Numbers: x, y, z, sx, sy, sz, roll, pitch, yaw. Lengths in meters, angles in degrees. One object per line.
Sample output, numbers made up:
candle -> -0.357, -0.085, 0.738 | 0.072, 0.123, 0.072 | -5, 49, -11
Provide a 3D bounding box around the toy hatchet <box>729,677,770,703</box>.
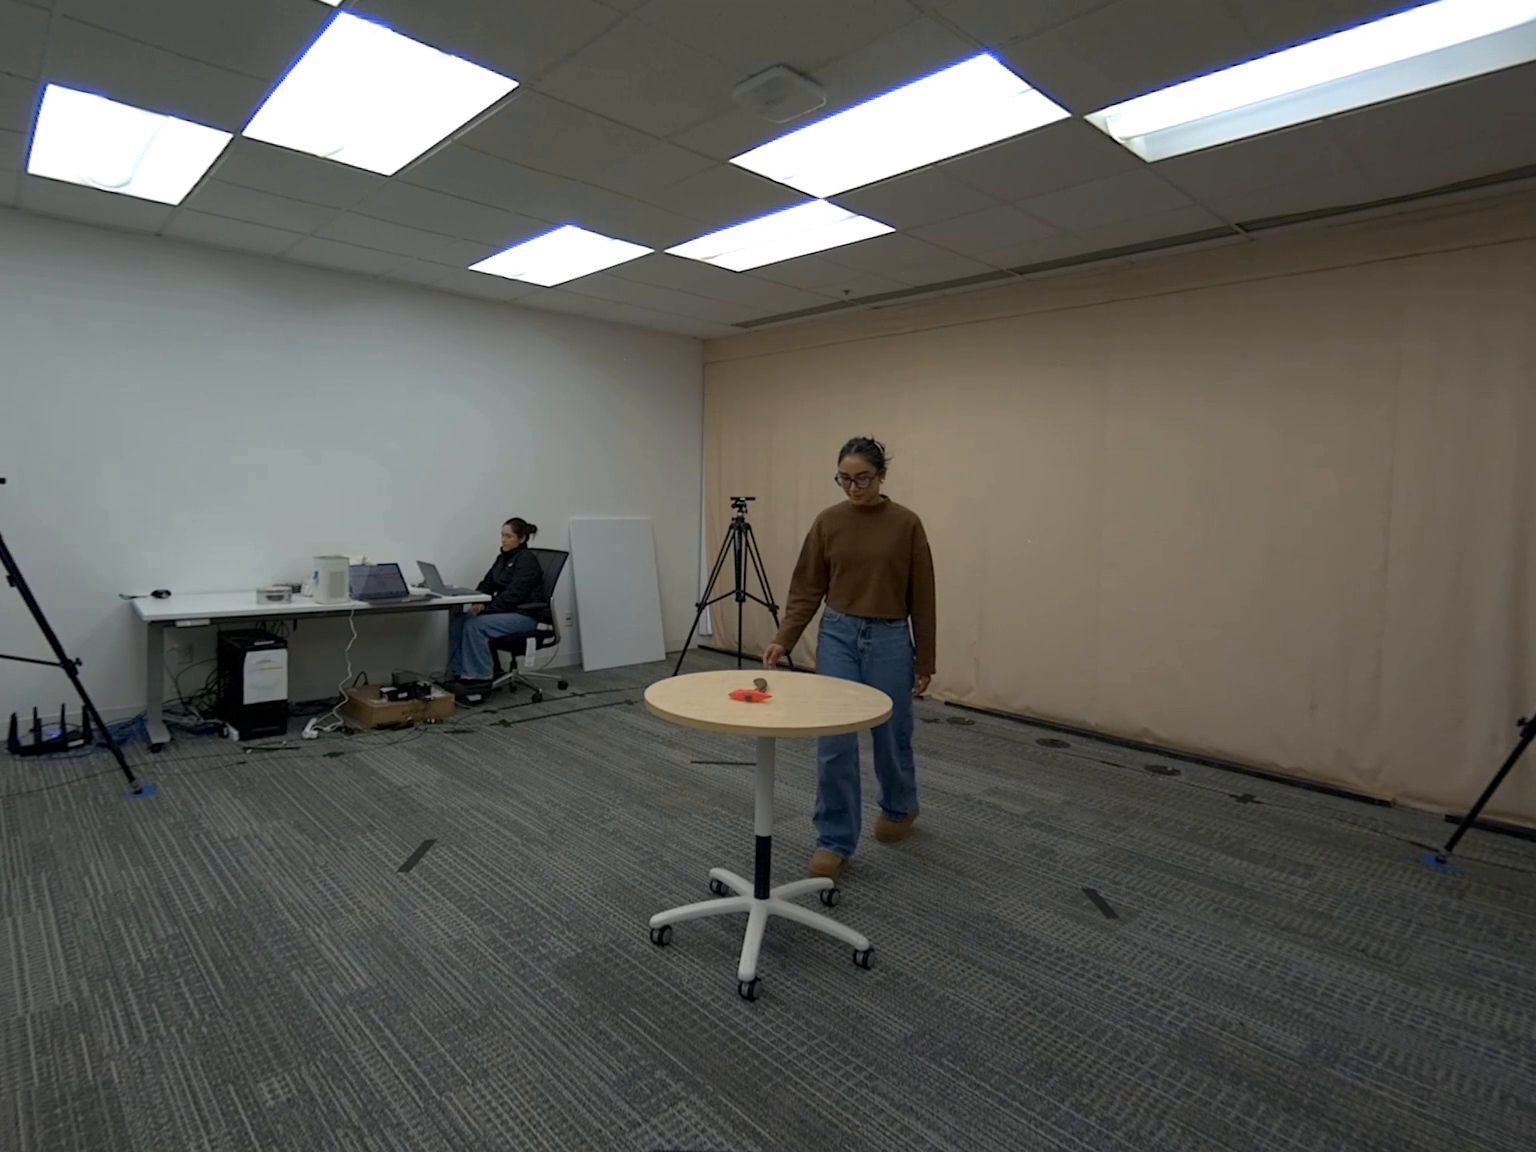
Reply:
toy hatchet -> -0.066, 0.357, 2.642 | 0.131, 0.029, 0.271 | -2, 3, -4
